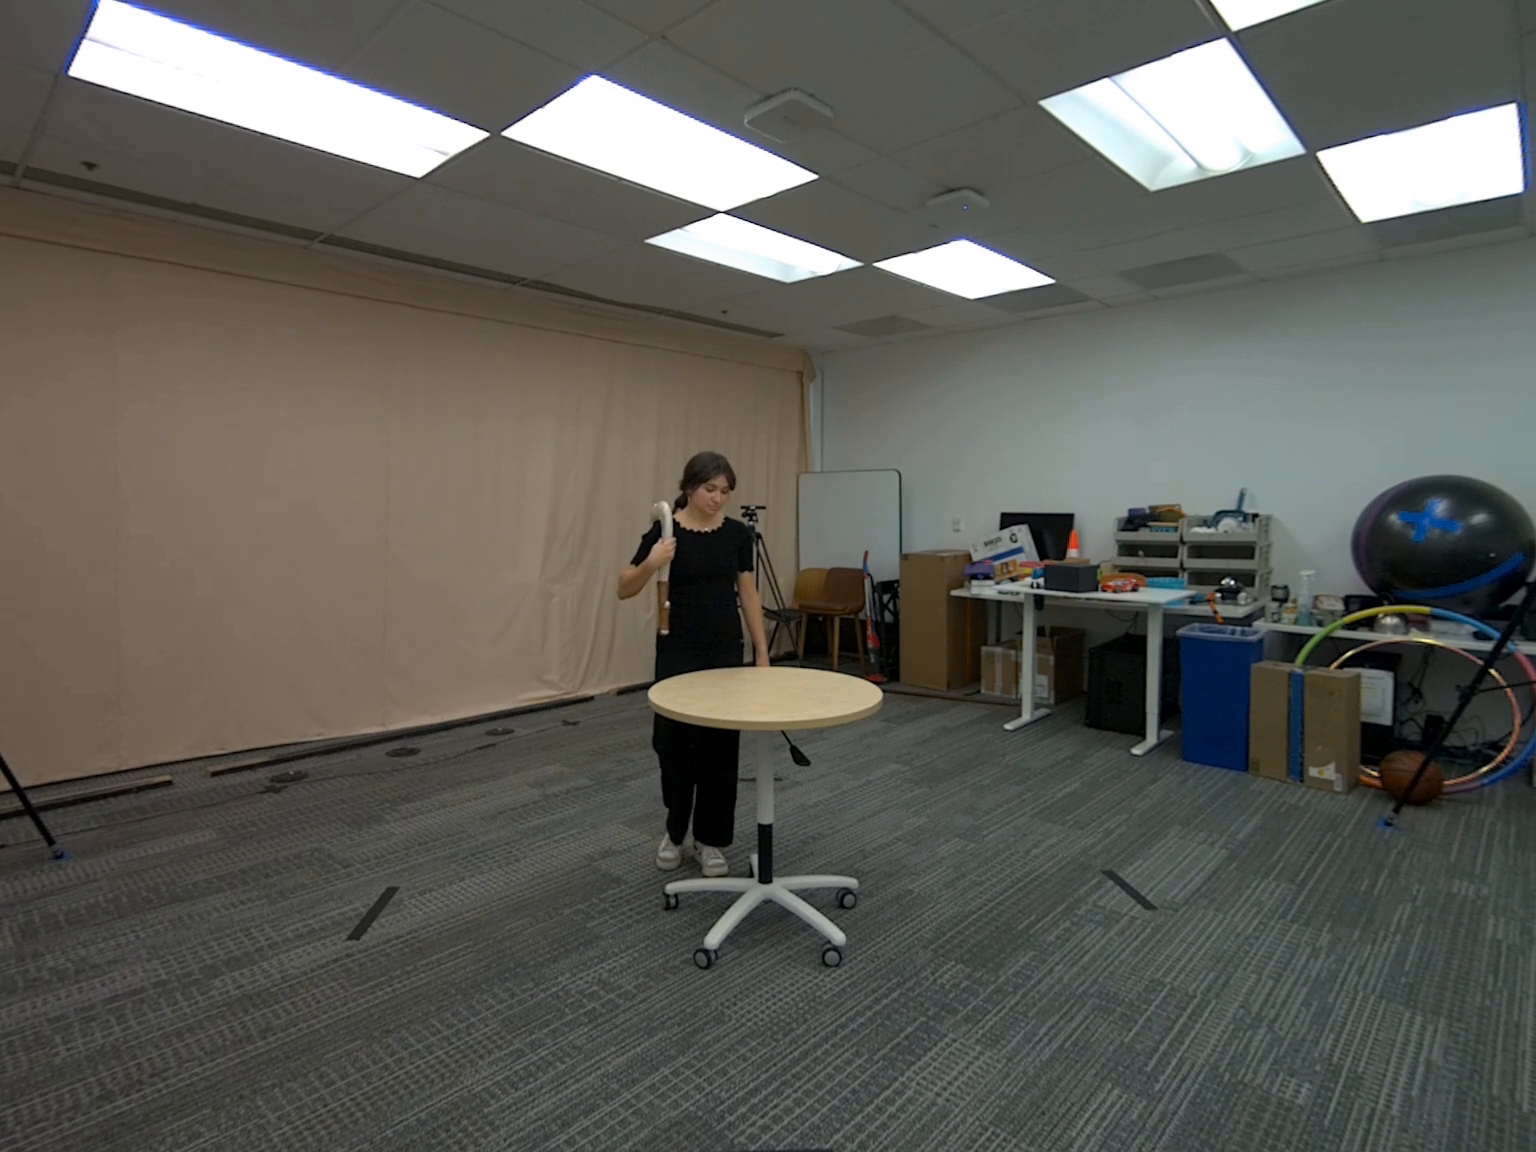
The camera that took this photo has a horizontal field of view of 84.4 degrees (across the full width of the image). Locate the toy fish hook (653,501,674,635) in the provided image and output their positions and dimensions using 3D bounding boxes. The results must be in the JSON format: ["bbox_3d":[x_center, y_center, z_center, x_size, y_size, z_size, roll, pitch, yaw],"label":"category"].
[{"bbox_3d":[-0.404,-0.032,3.210,0.047,0.509,0.228,0,-6,-22],"label":"toy fish hook"}]
